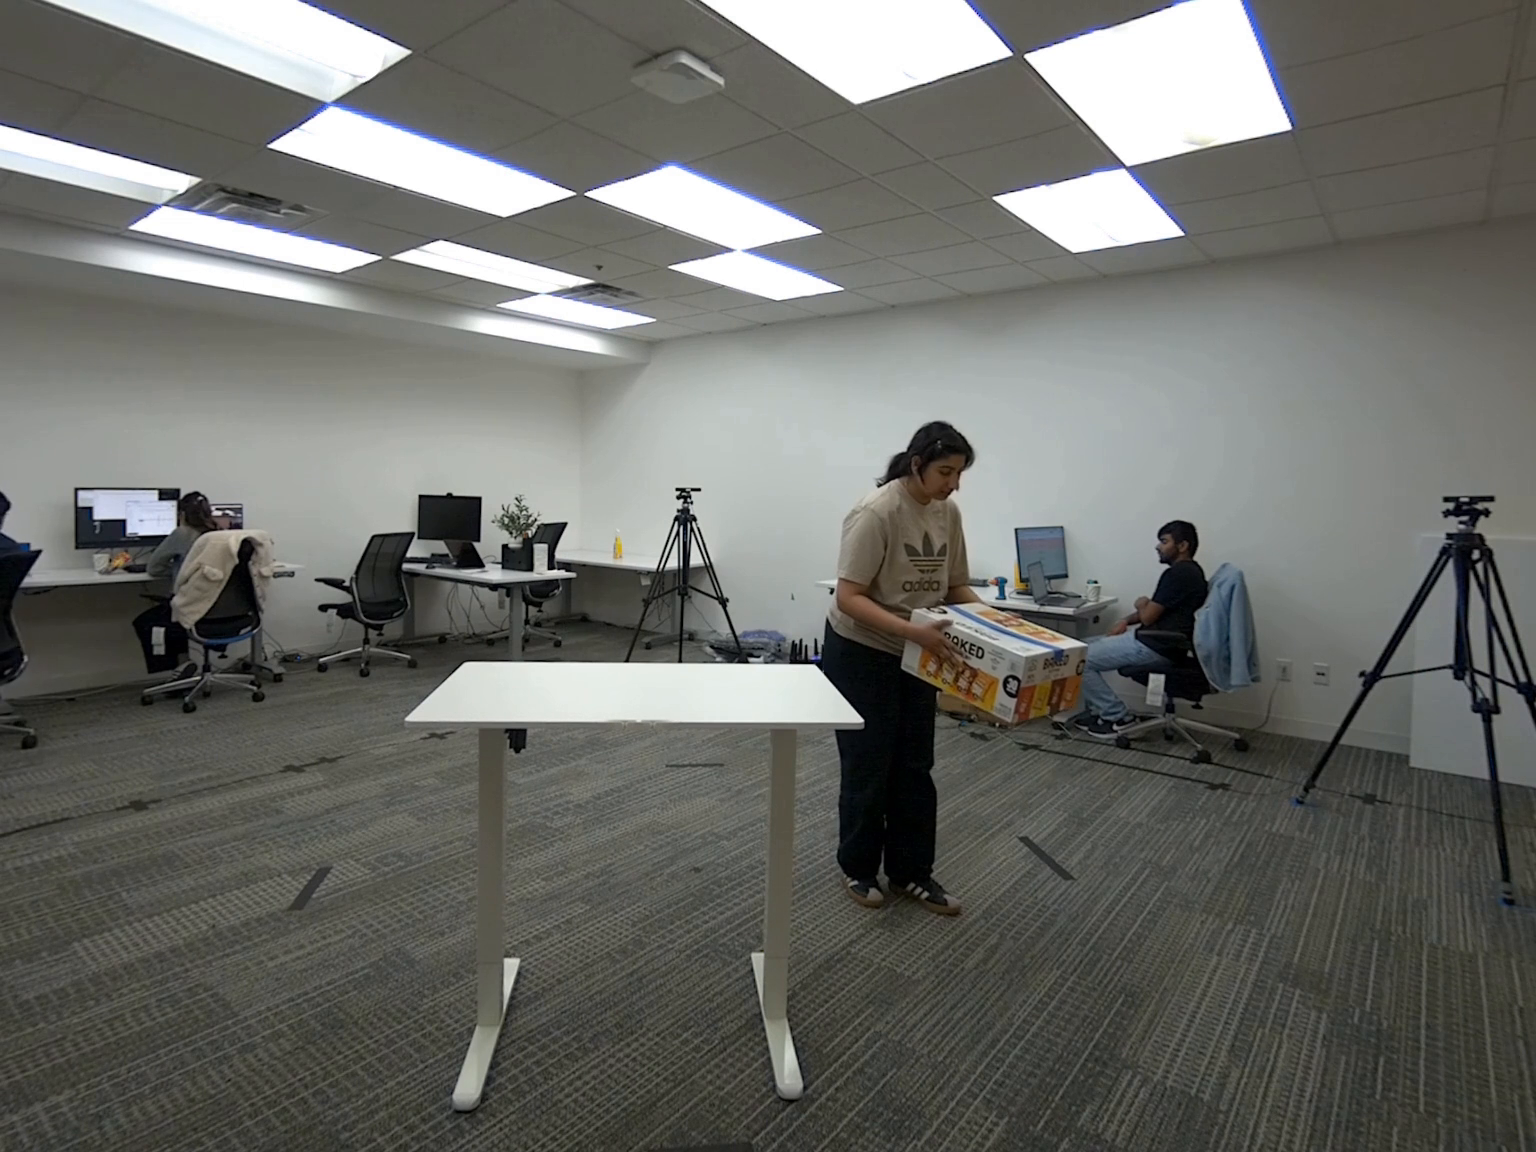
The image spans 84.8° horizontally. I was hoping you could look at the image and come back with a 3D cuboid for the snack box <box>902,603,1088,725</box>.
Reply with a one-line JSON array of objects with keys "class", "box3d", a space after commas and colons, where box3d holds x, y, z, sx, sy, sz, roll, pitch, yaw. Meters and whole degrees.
[{"class": "snack box", "box3d": [0.690, 0.252, 2.620, 0.330, 0.203, 0.422, -4, 18, -40]}]
